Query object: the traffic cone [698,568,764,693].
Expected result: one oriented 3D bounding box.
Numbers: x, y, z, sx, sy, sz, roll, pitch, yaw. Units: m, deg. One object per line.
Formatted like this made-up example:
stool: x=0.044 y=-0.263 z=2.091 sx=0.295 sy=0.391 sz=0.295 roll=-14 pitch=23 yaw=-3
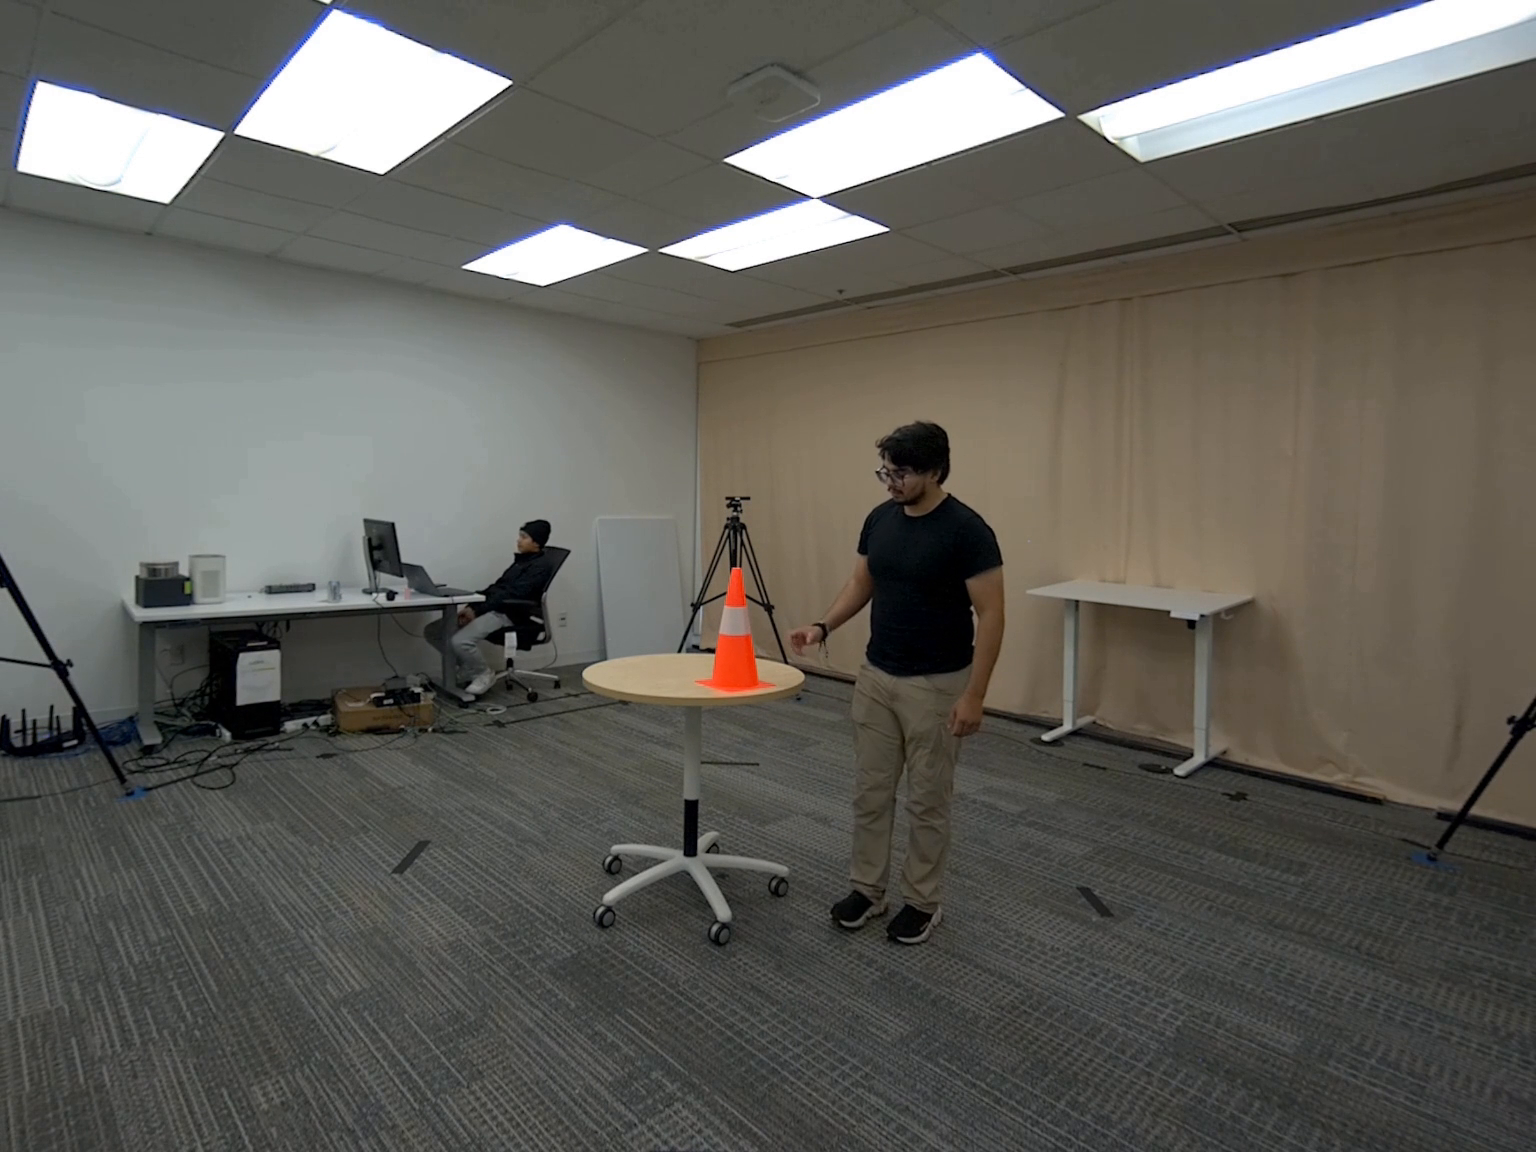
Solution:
traffic cone: x=-0.103 y=0.167 z=2.740 sx=0.208 sy=0.383 sz=0.200 roll=3 pitch=3 yaw=37
